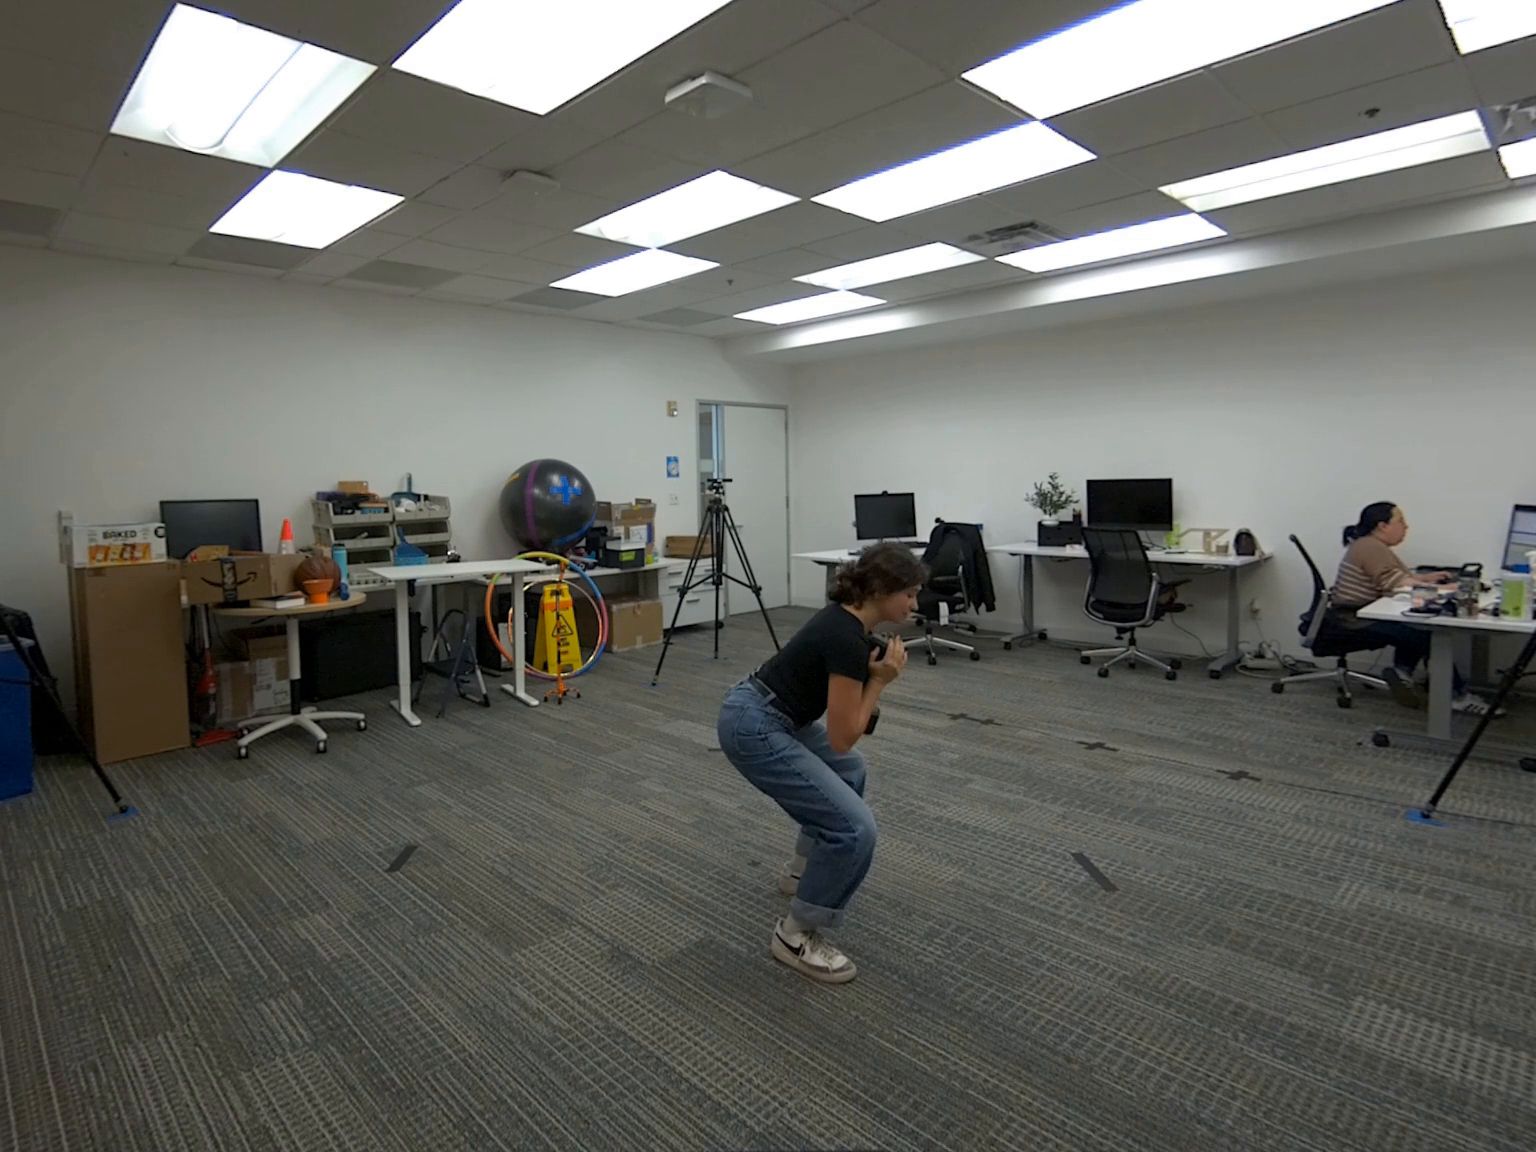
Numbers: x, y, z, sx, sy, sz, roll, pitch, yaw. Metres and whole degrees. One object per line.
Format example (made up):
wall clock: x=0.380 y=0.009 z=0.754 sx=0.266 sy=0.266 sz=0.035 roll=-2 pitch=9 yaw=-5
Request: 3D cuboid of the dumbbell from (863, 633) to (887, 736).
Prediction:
dumbbell: x=0.295 y=0.328 z=2.601 sx=0.127 sy=0.292 sz=0.105 roll=23 pitch=9 yaw=39
